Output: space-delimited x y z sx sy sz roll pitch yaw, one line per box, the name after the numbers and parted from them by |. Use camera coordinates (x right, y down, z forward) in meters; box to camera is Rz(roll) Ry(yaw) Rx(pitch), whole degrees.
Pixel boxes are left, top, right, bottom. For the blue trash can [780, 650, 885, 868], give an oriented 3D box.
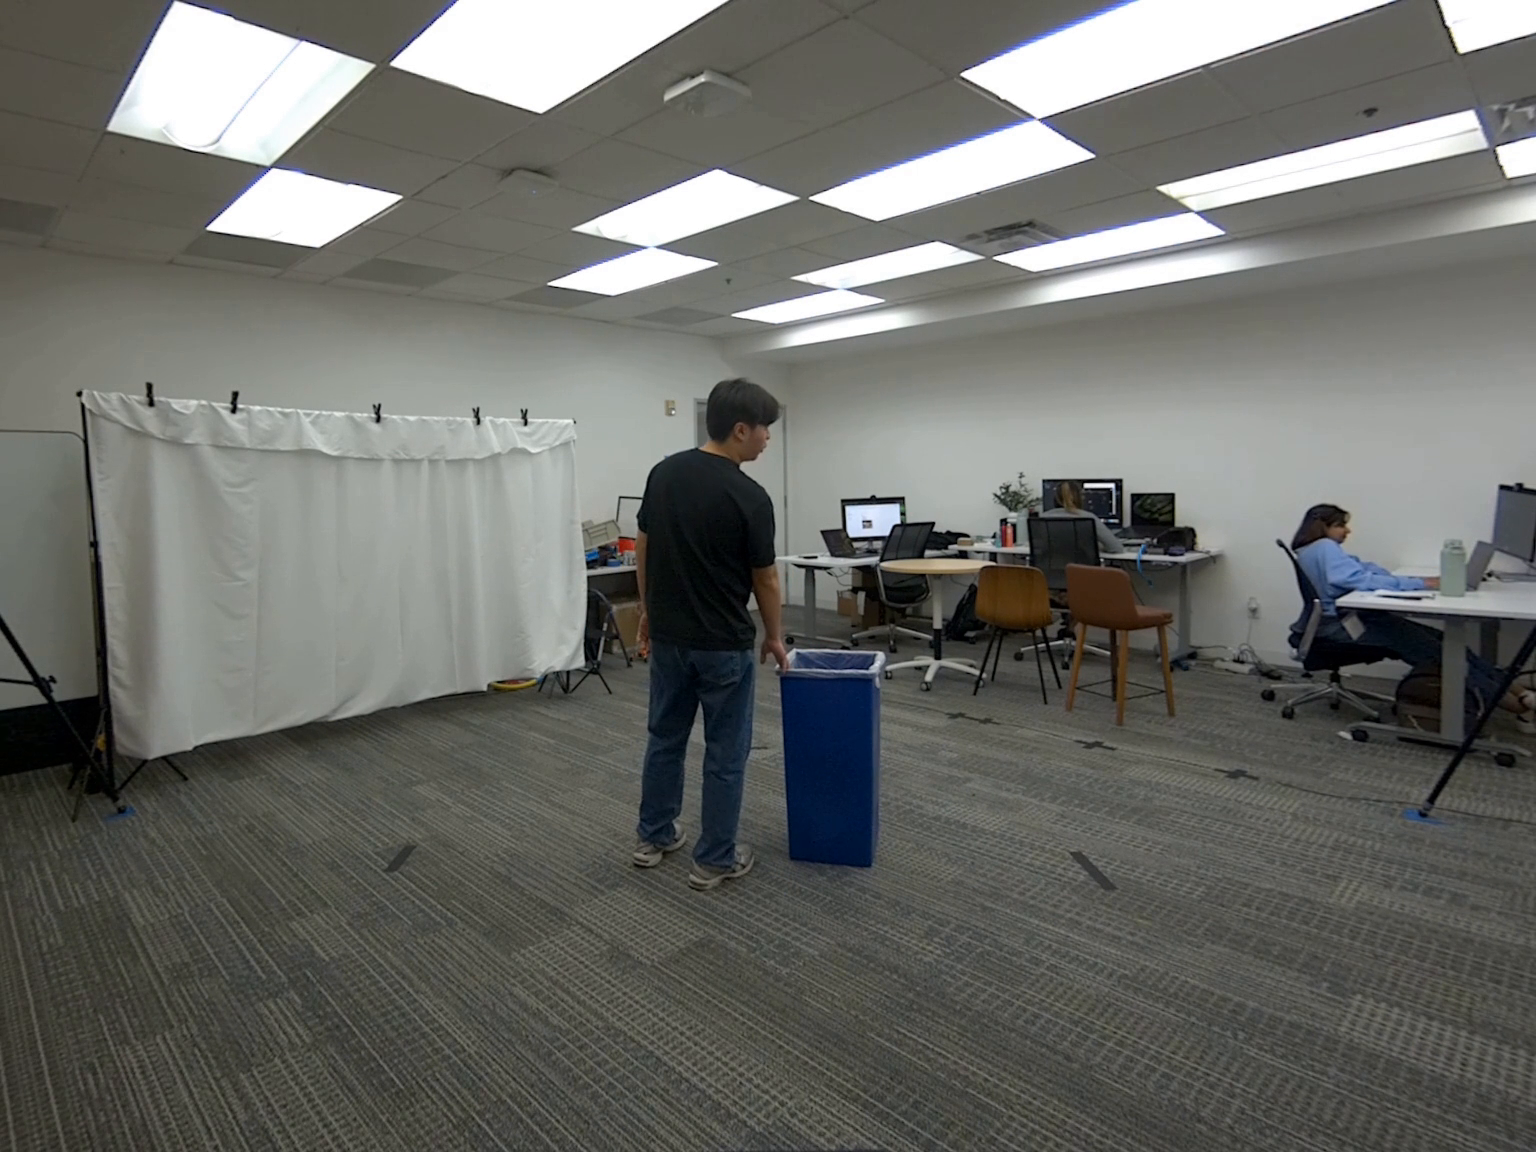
0.257 0.668 3.214 0.379 0.711 0.374 -1 4 13 | blue trash can
